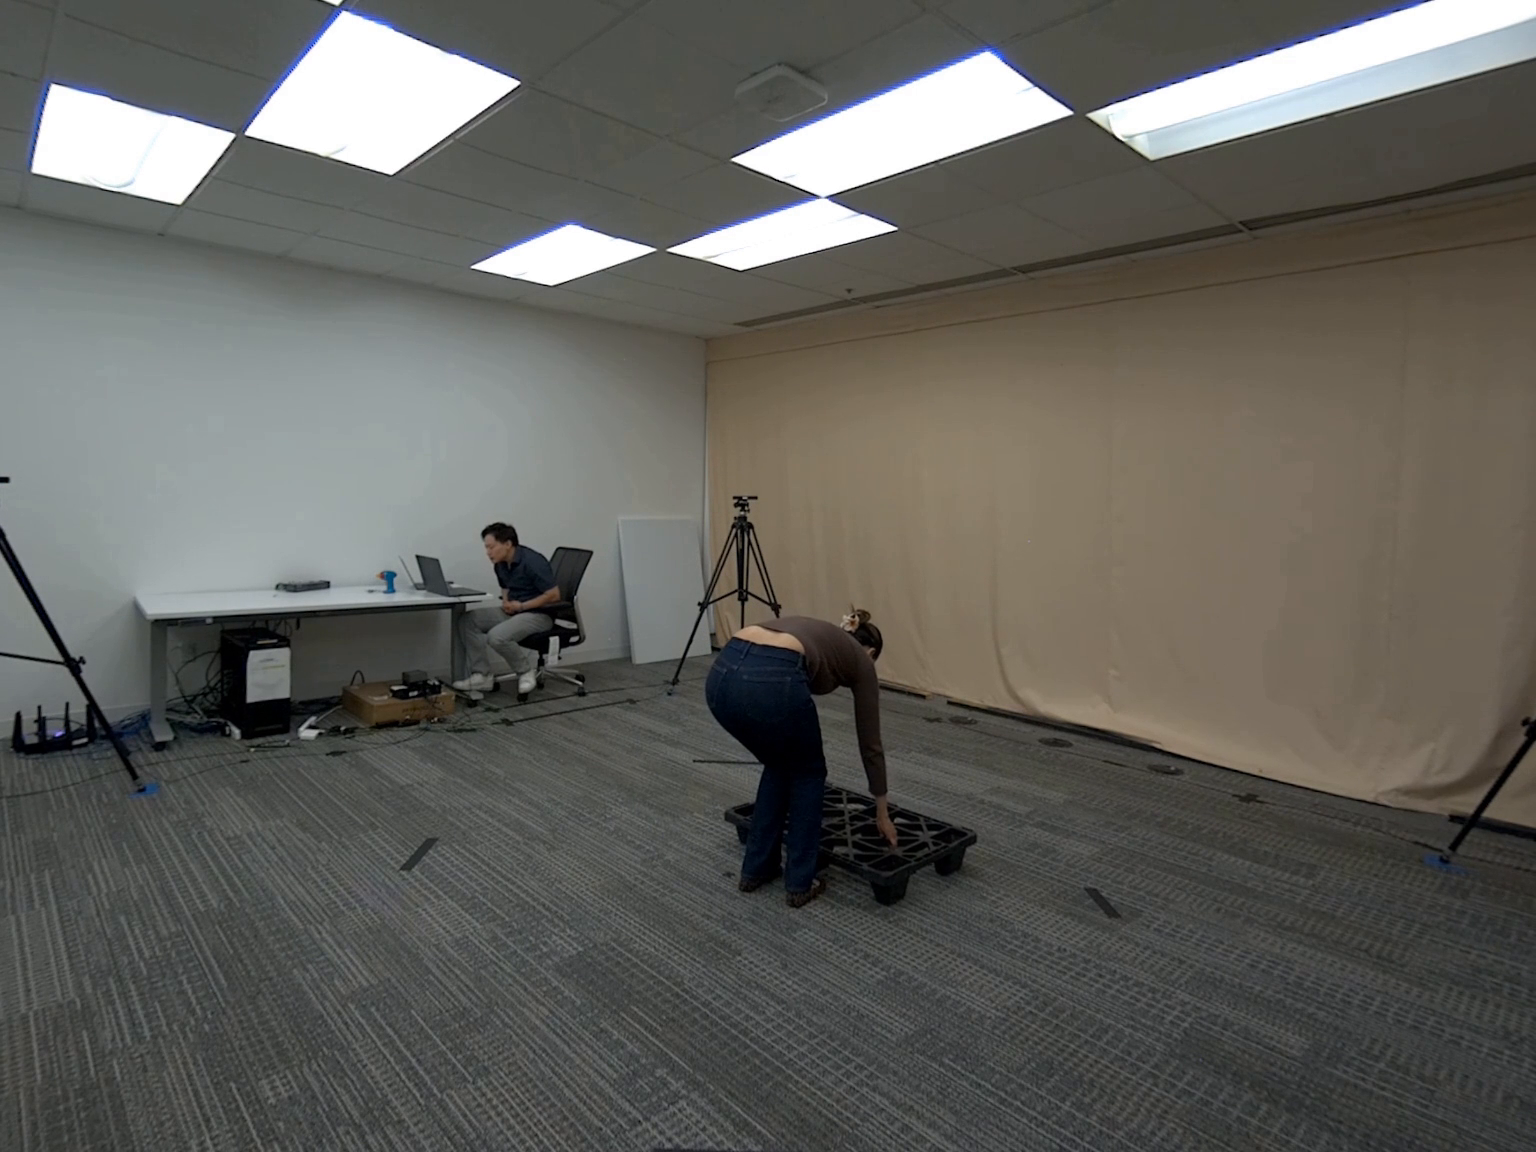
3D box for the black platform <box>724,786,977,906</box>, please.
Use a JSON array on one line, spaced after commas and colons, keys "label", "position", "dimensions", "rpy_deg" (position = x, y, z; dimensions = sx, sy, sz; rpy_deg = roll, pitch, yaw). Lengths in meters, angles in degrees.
[{"label": "black platform", "position": [0.302, 1.024, 3.289], "dimensions": [0.591, 0.143, 0.826], "rpy_deg": [-4, 7, -45]}]
